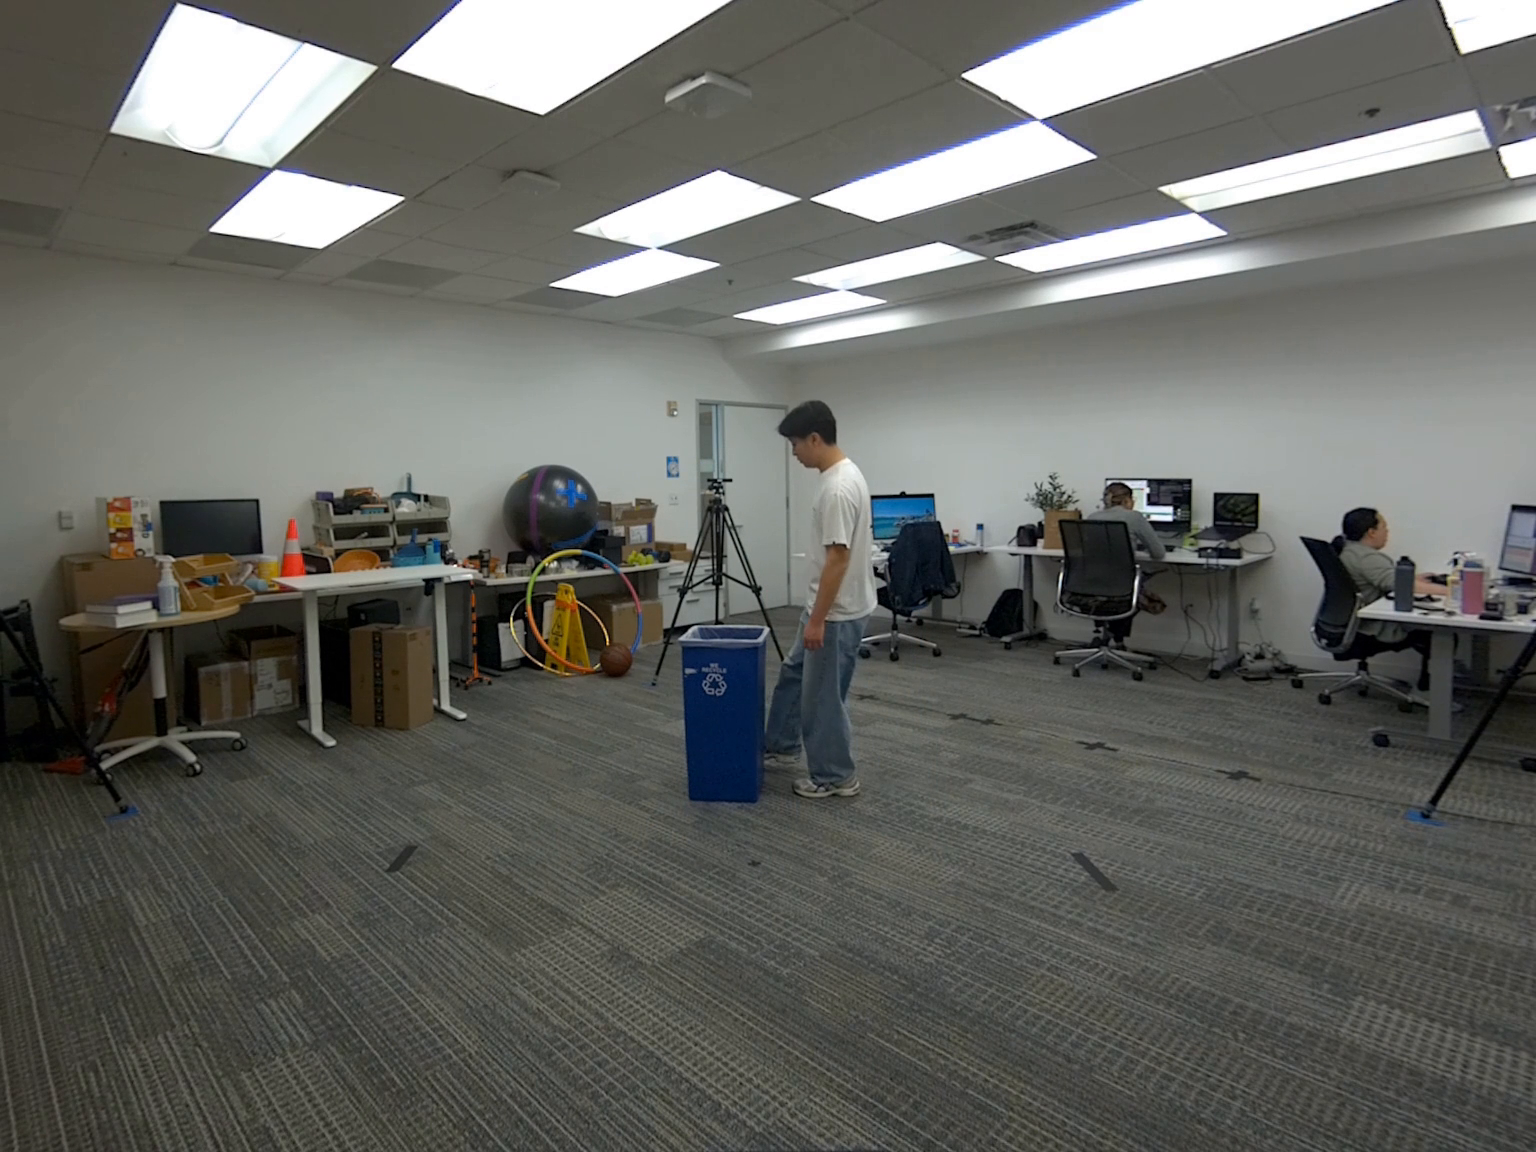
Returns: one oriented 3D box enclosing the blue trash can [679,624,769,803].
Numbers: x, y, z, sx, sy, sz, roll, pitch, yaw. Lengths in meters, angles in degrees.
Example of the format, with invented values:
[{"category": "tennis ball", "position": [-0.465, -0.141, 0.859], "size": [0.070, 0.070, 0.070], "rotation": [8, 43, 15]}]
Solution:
[{"category": "blue trash can", "position": [-0.179, 0.605, 3.834], "size": [0.377, 0.711, 0.376], "rotation": [0, 4, 8]}]
